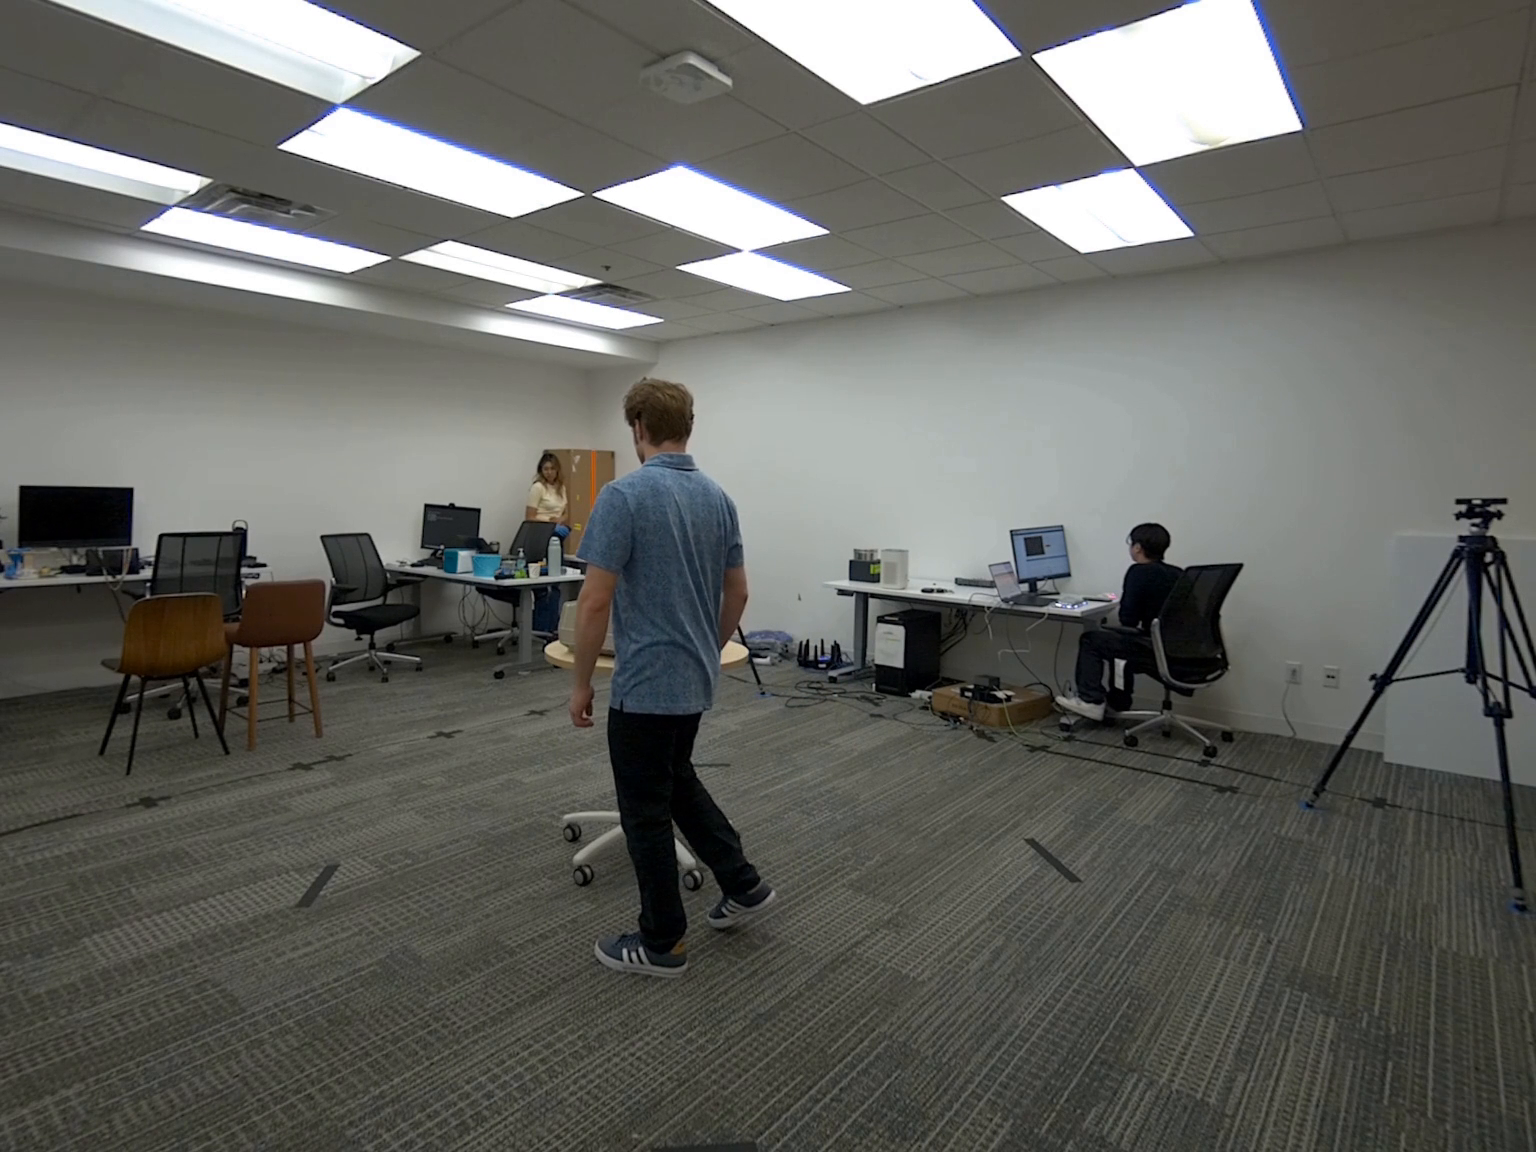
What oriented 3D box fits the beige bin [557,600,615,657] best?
[{"bbox_3d":[-0.501,0.192,3.132,0.434,0.188,0.368,4,4,28],"label":"beige bin"}]
